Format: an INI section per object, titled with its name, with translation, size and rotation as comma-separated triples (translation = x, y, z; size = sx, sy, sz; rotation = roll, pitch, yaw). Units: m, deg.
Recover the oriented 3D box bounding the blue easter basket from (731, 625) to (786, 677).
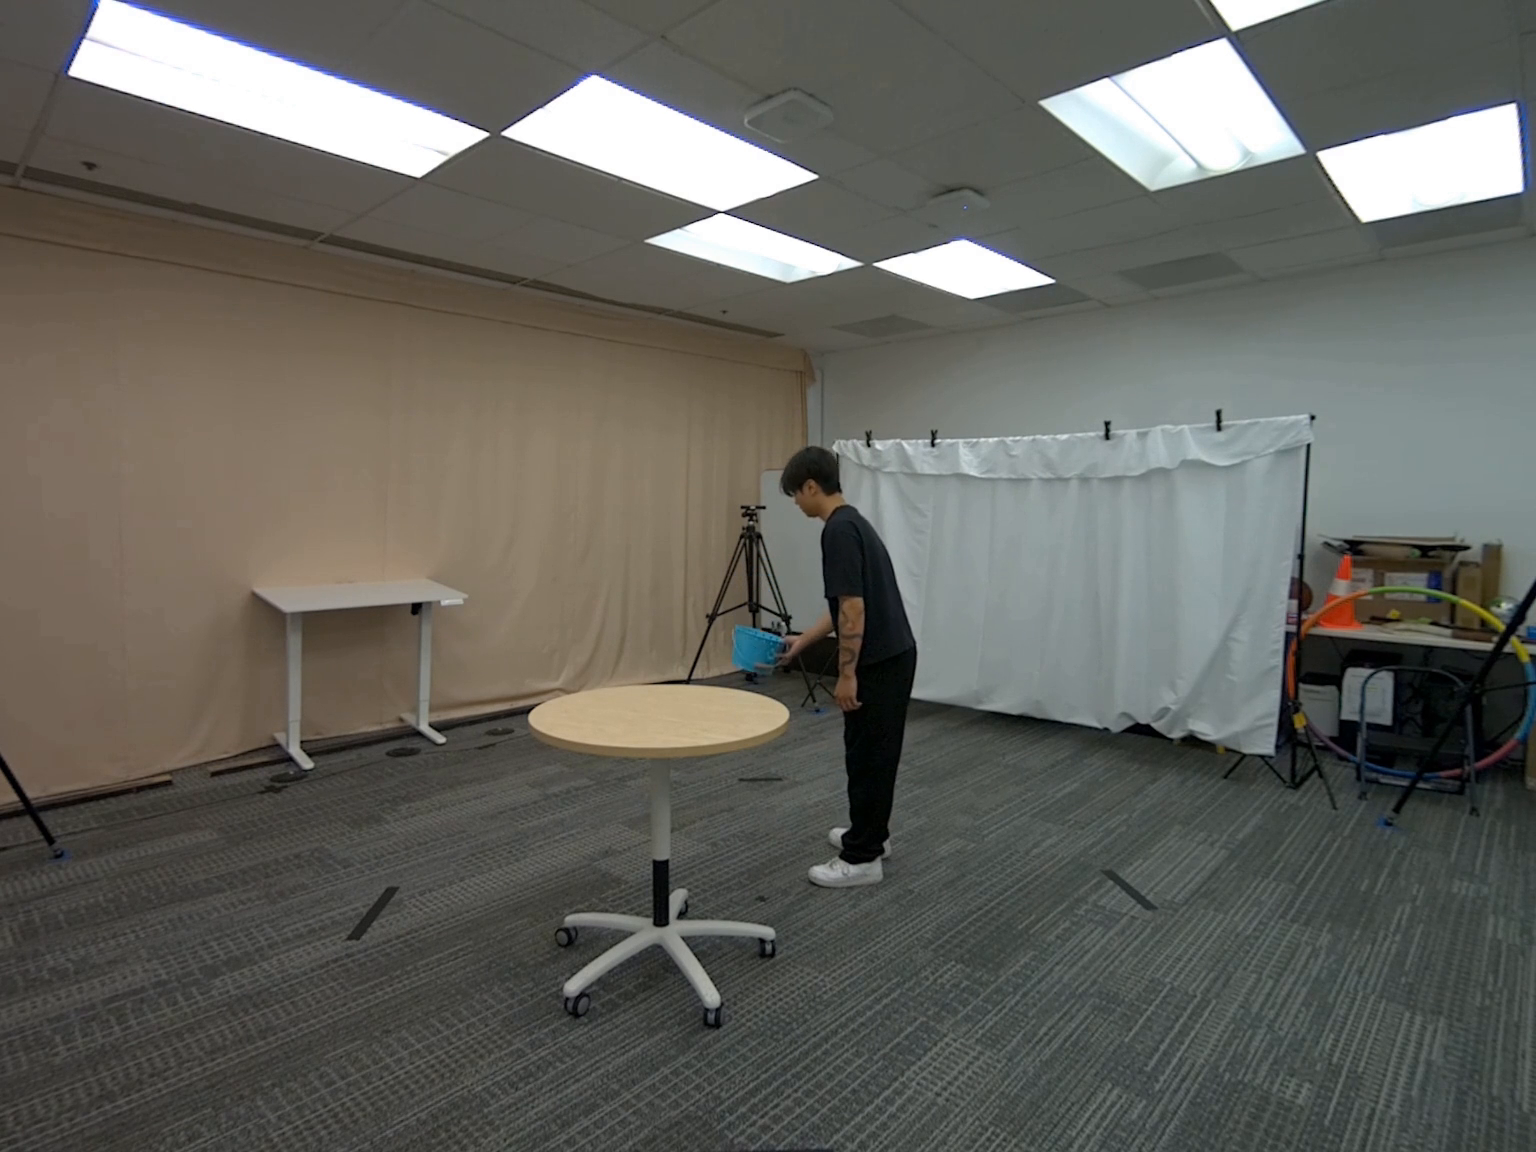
[blue easter basket]
translation = -0.045, 0.321, 3.561
size = 0.243, 0.156, 0.244
rotation = 15, 1, -2
